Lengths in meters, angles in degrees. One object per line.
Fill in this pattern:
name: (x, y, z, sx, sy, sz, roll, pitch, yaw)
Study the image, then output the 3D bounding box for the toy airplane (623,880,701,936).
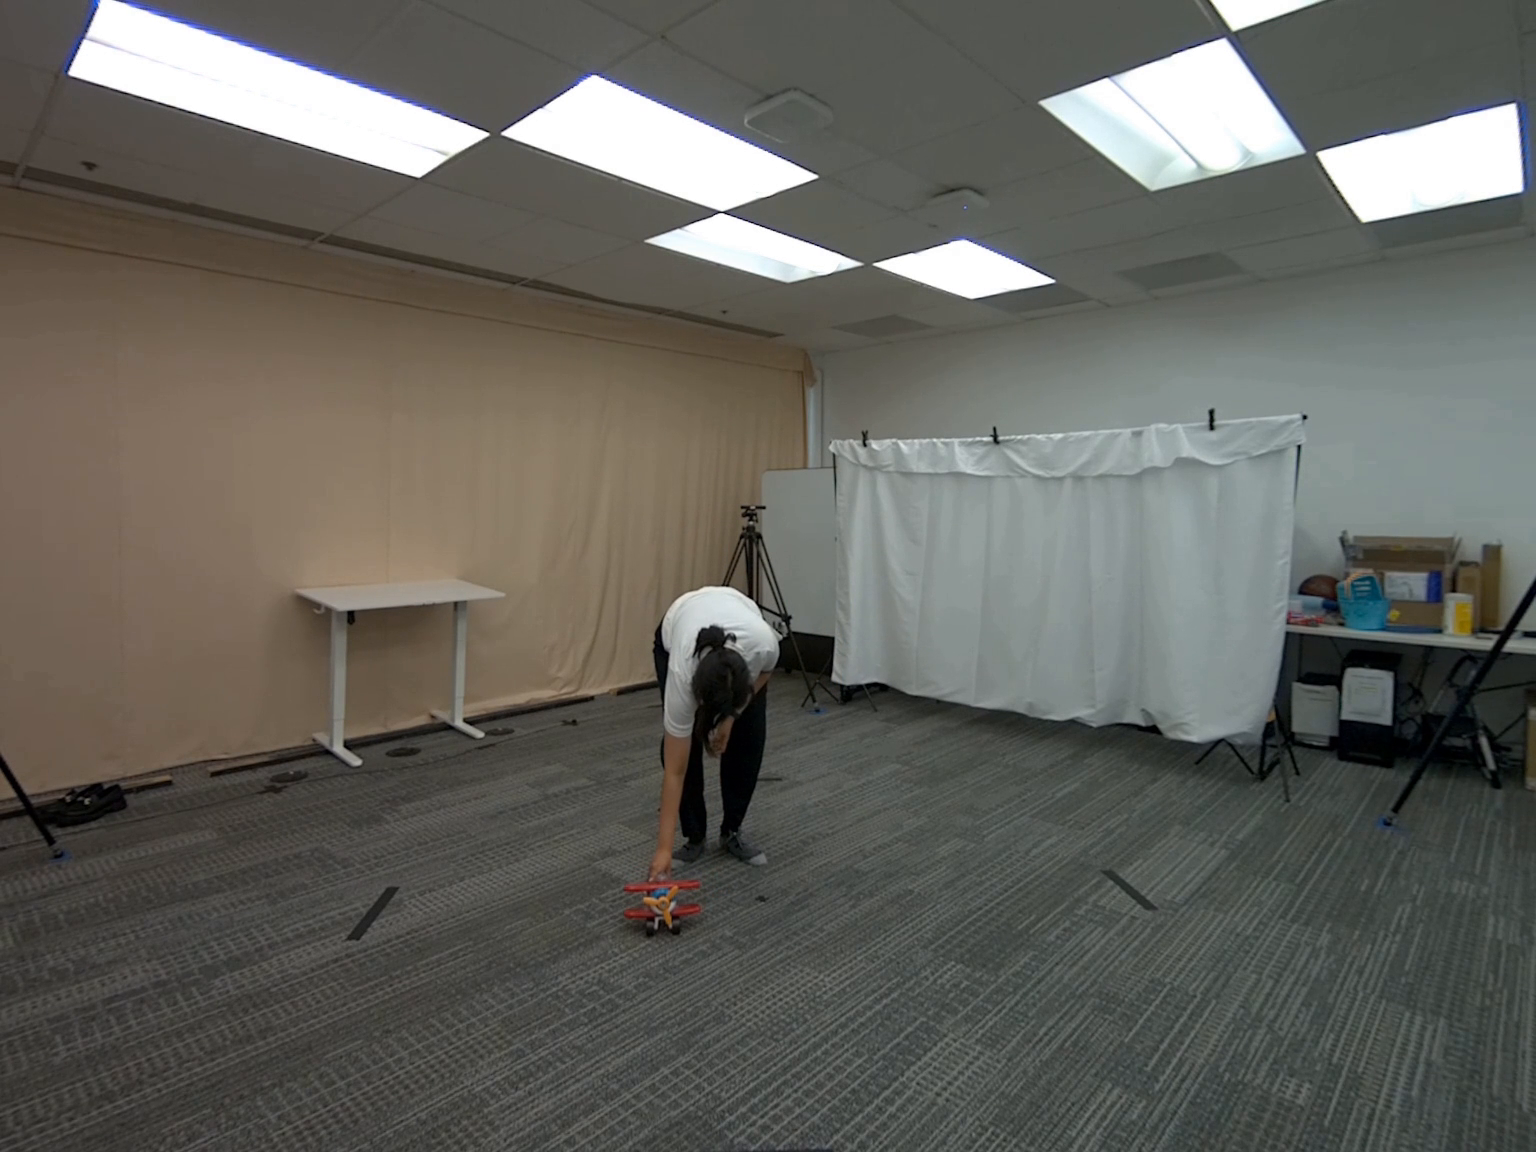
toy airplane: (-0.371, 1.081, 2.824, 0.244, 0.156, 0.267, -6, 7, -34)
